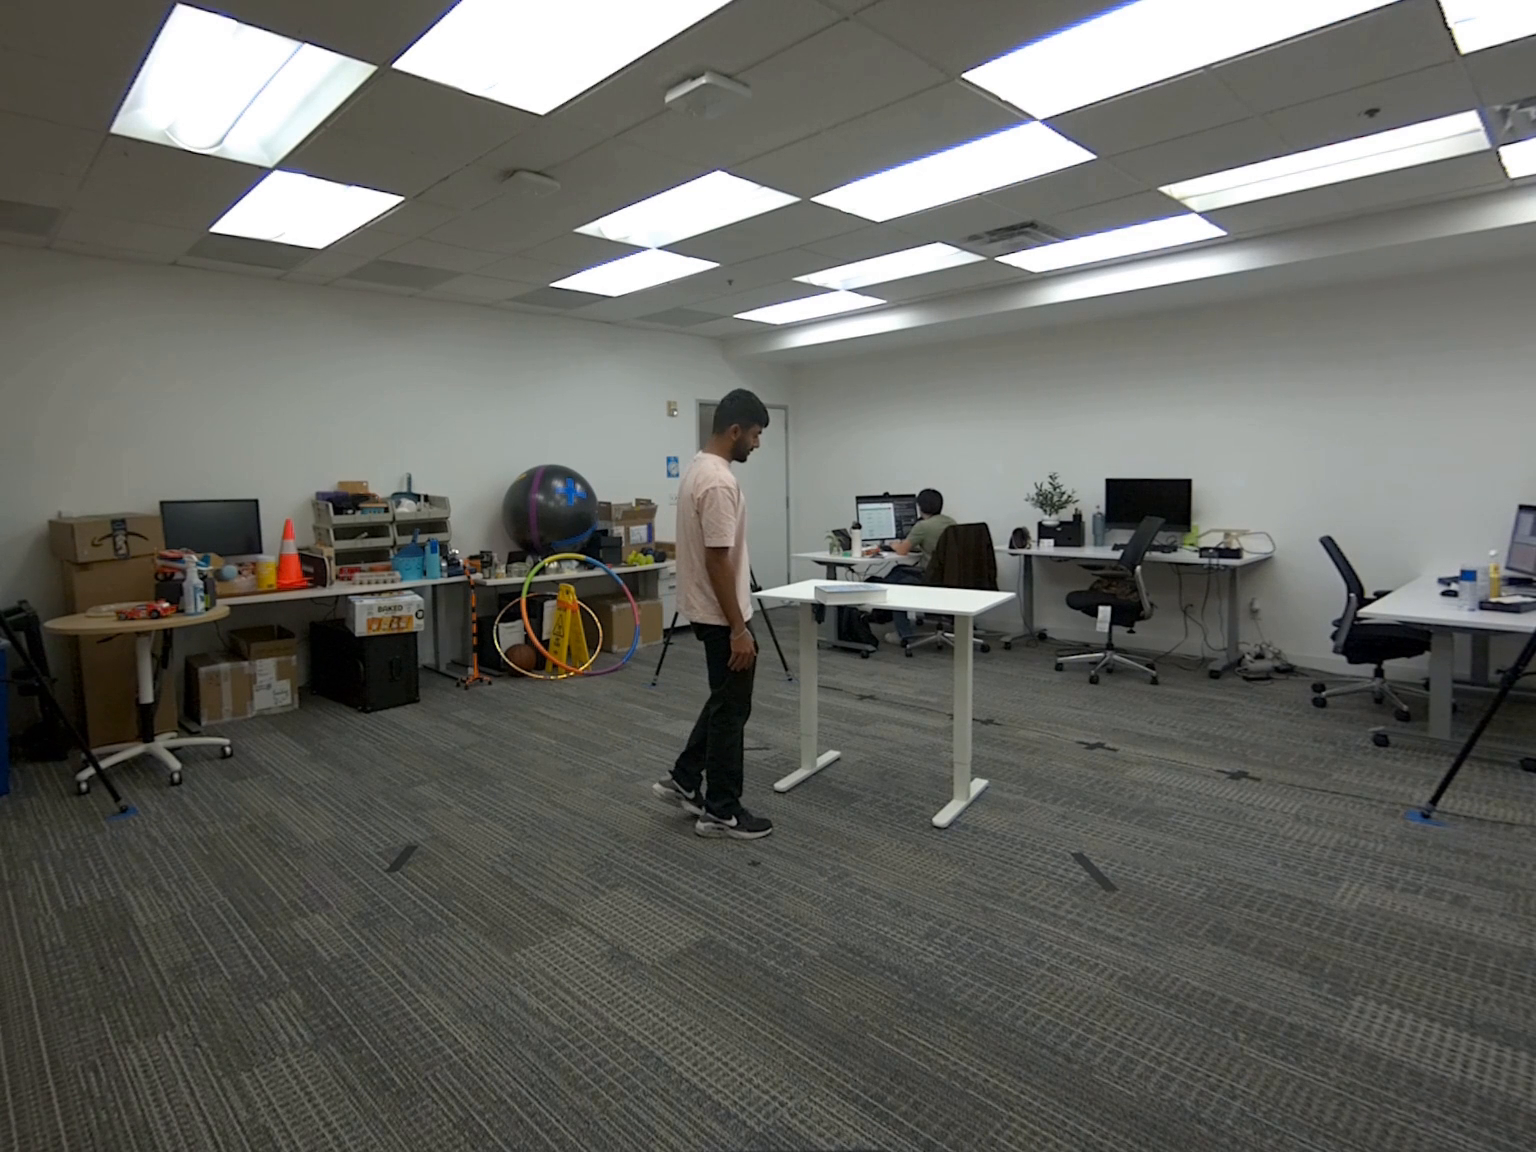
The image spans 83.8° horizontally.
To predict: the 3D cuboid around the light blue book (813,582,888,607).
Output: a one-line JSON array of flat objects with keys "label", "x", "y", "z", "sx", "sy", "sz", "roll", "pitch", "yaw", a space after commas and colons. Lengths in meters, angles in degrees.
[{"label": "light blue book", "x": 0.346, "y": 0.074, "z": 3.589, "sx": 0.258, "sy": 0.059, "sz": 0.194, "roll": -2, "pitch": 6, "yaw": -11}]
